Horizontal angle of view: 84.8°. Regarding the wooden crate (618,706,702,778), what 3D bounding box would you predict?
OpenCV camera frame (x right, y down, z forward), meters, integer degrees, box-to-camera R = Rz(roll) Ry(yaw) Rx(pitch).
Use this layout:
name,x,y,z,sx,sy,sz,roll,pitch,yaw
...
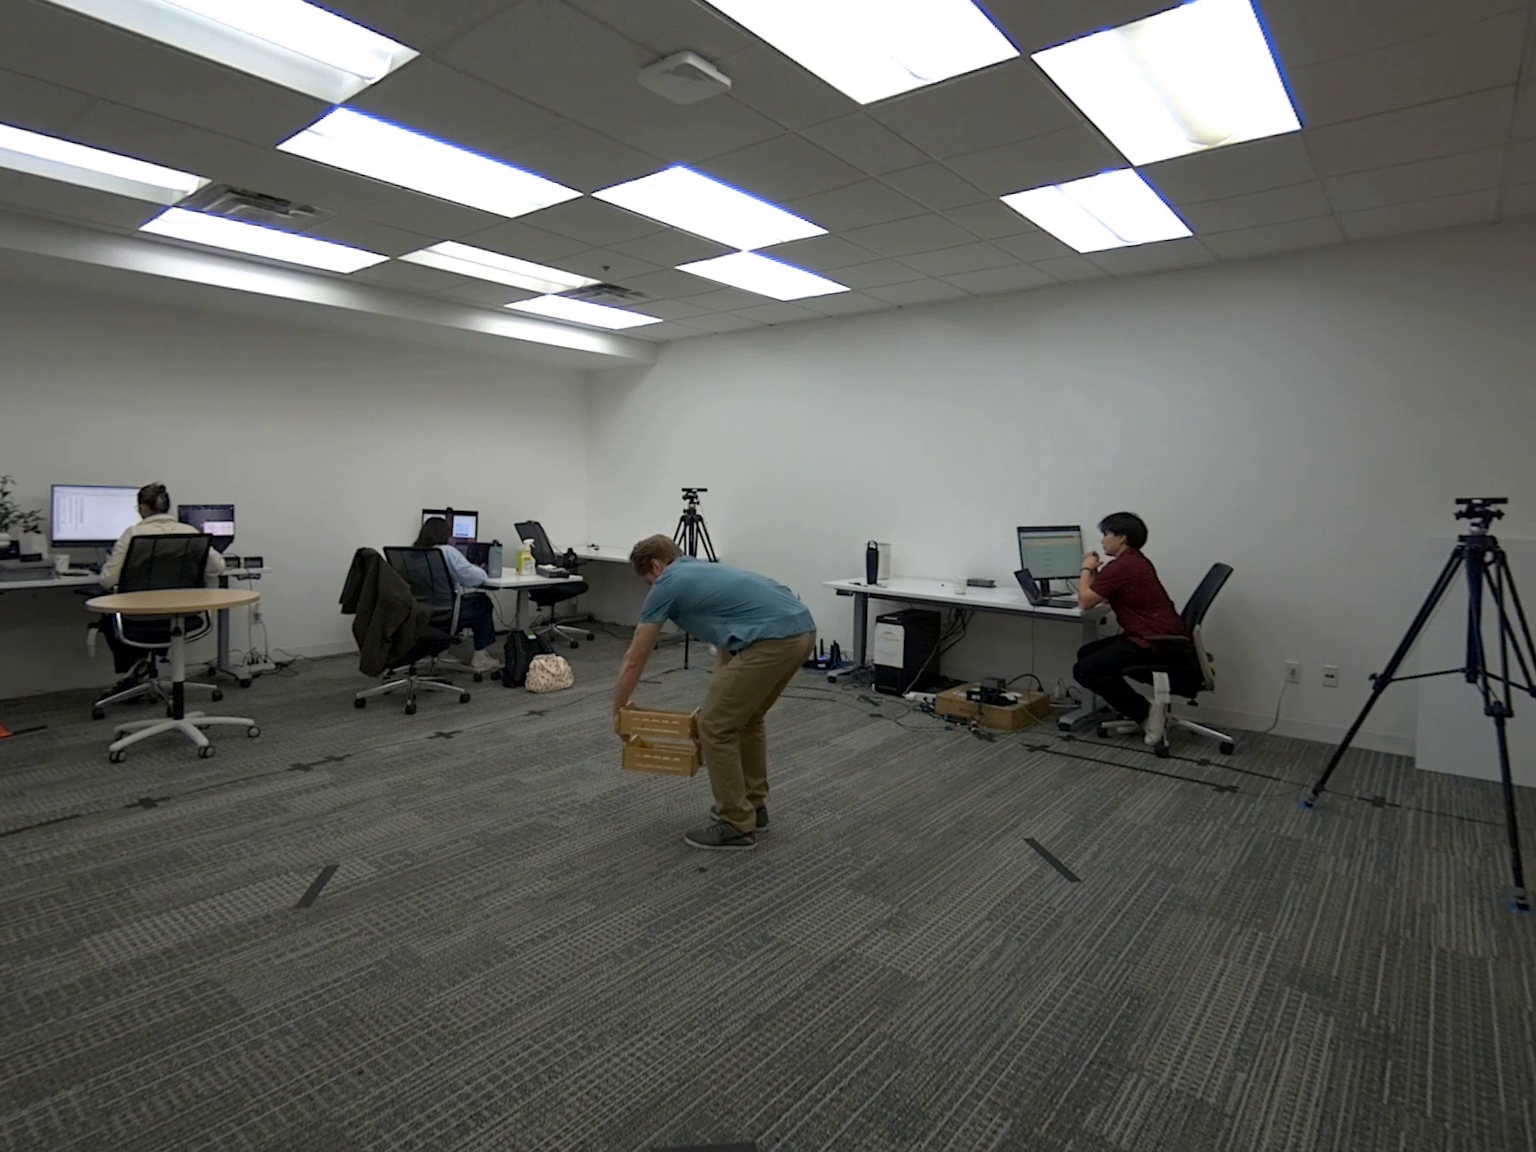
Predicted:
name,x,y,z,sx,sy,sz,roll,pitch,yaw
wooden crate,-0.441,0.653,3.535,0.329,0.272,0.300,3,6,11
